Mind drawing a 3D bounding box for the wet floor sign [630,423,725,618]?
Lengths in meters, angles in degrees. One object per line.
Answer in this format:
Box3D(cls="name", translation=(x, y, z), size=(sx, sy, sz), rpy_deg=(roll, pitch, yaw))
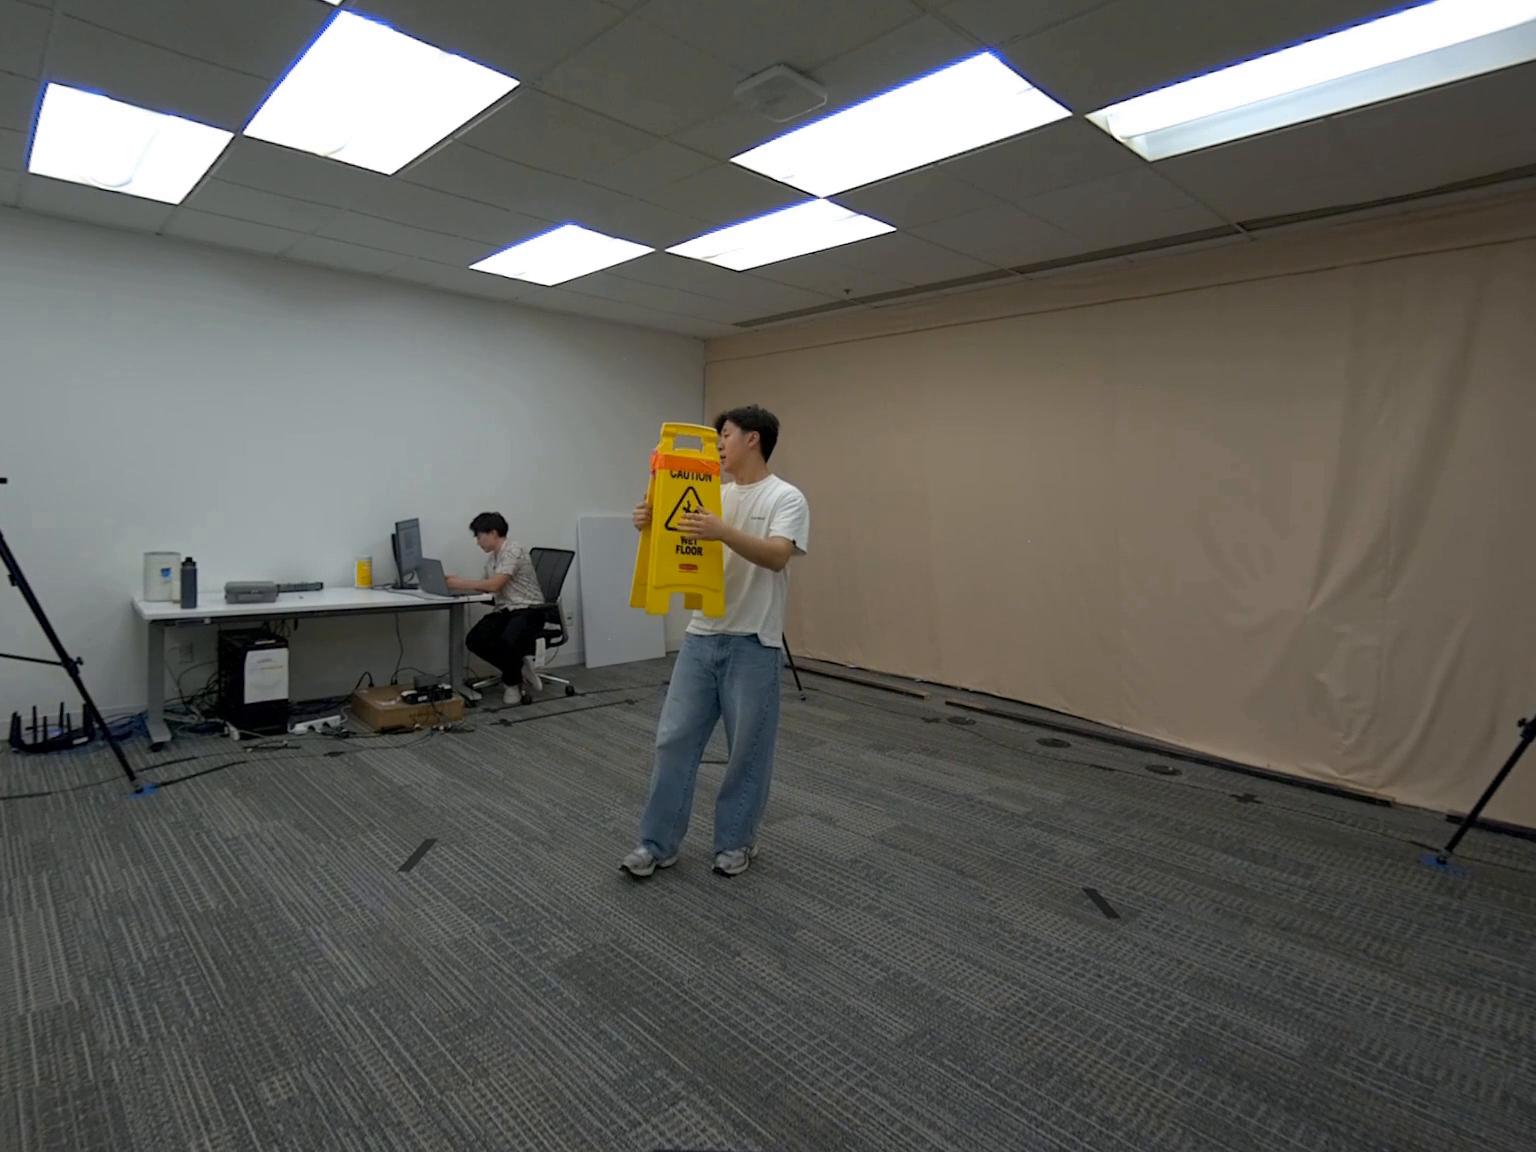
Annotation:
Box3D(cls="wet floor sign", translation=(-0.308, -0.198, 2.915), size=(0.277, 0.646, 0.295), rpy_deg=(4, 1, -22))
